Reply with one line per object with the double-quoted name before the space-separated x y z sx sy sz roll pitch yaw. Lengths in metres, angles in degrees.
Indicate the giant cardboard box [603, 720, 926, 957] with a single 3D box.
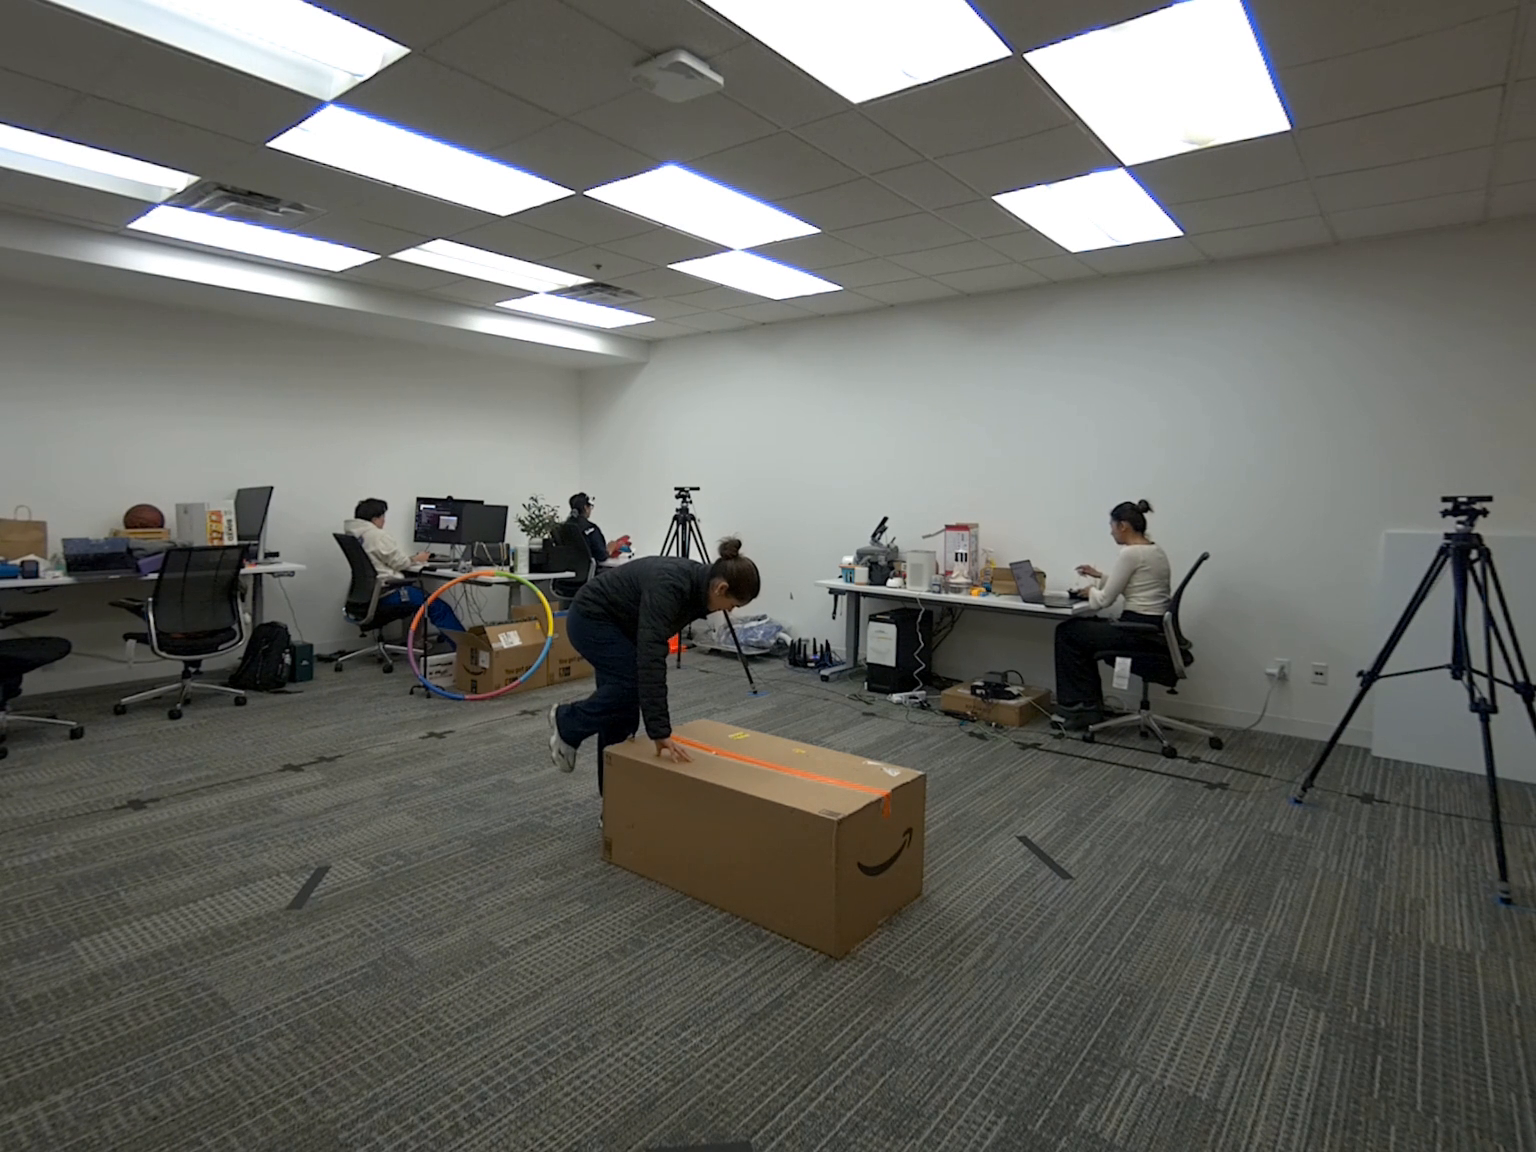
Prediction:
"giant cardboard box" -0.023 0.867 3.059 1.062 0.445 0.567 6 8 38
